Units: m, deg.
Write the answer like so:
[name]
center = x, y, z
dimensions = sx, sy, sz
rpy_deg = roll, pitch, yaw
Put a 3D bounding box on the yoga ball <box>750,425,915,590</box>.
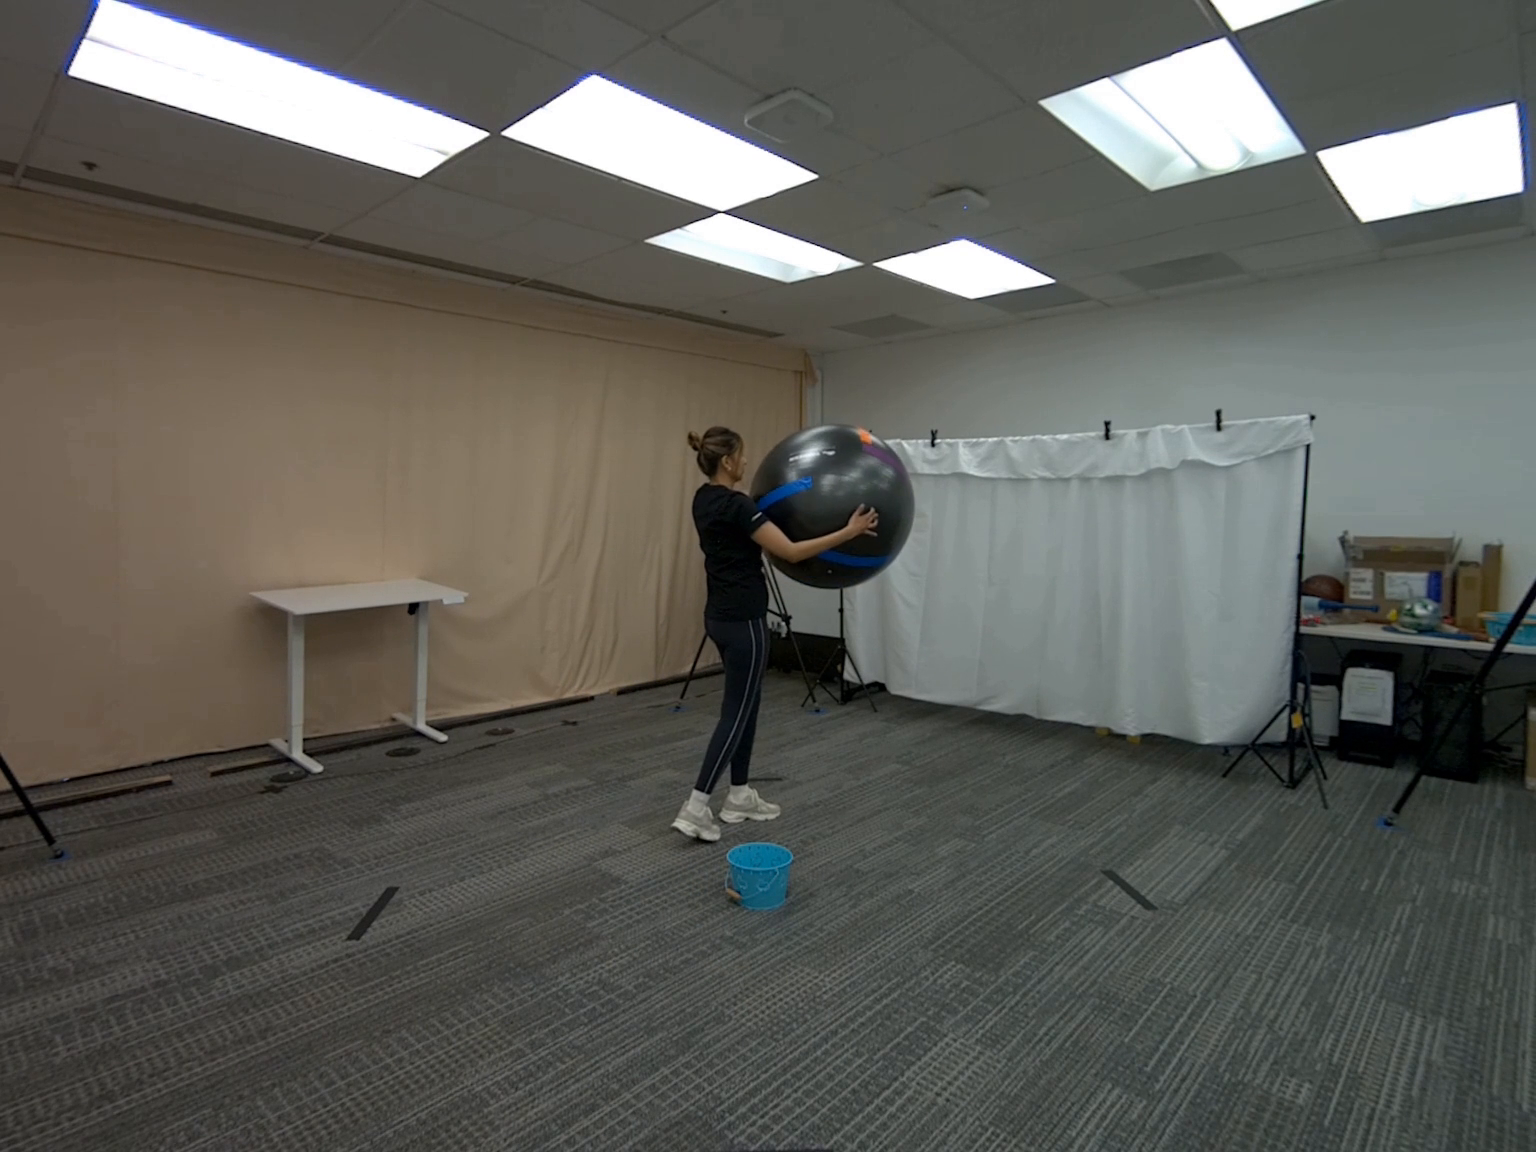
[yoga ball]
center = 0.291, -0.321, 3.884
dimensions = 0.757, 0.756, 0.761
rpy_deg = 0, 4, -2
